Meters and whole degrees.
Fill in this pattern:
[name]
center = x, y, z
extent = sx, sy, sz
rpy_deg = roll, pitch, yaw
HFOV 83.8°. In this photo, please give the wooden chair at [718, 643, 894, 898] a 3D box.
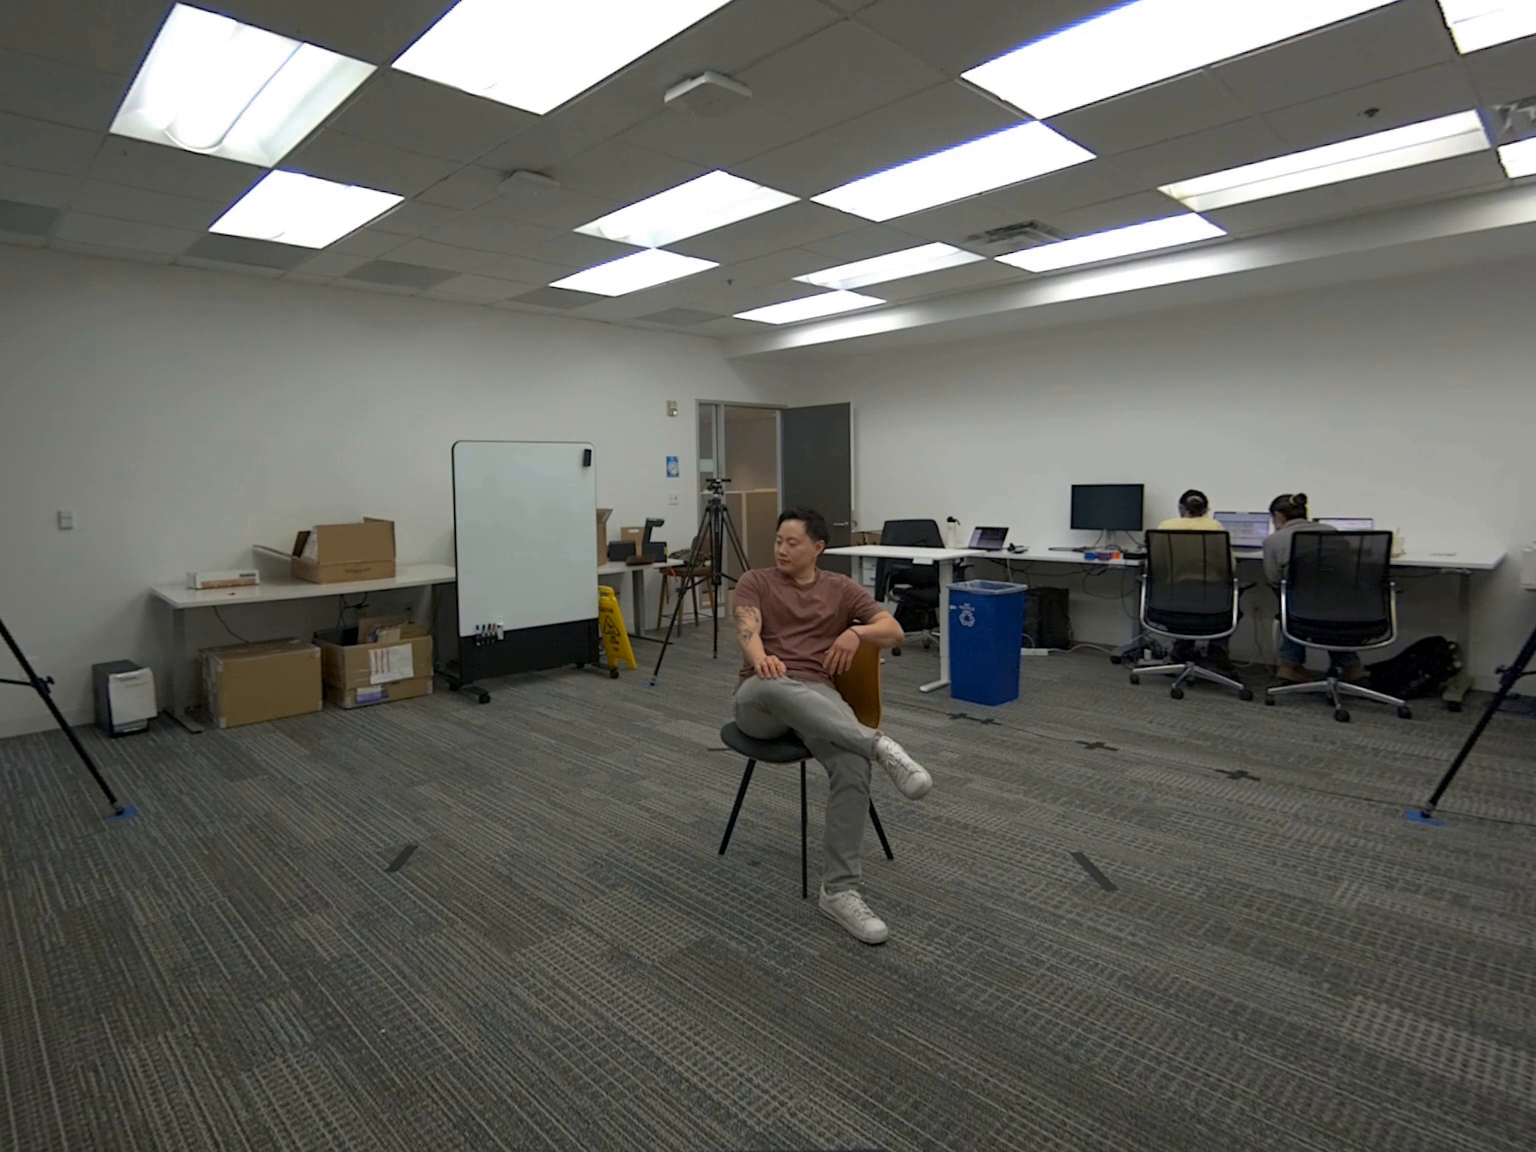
[wooden chair]
center = 0.124, 0.615, 3.117
extent = 0.508, 0.877, 0.492
rpy_deg = 1, 1, -41
